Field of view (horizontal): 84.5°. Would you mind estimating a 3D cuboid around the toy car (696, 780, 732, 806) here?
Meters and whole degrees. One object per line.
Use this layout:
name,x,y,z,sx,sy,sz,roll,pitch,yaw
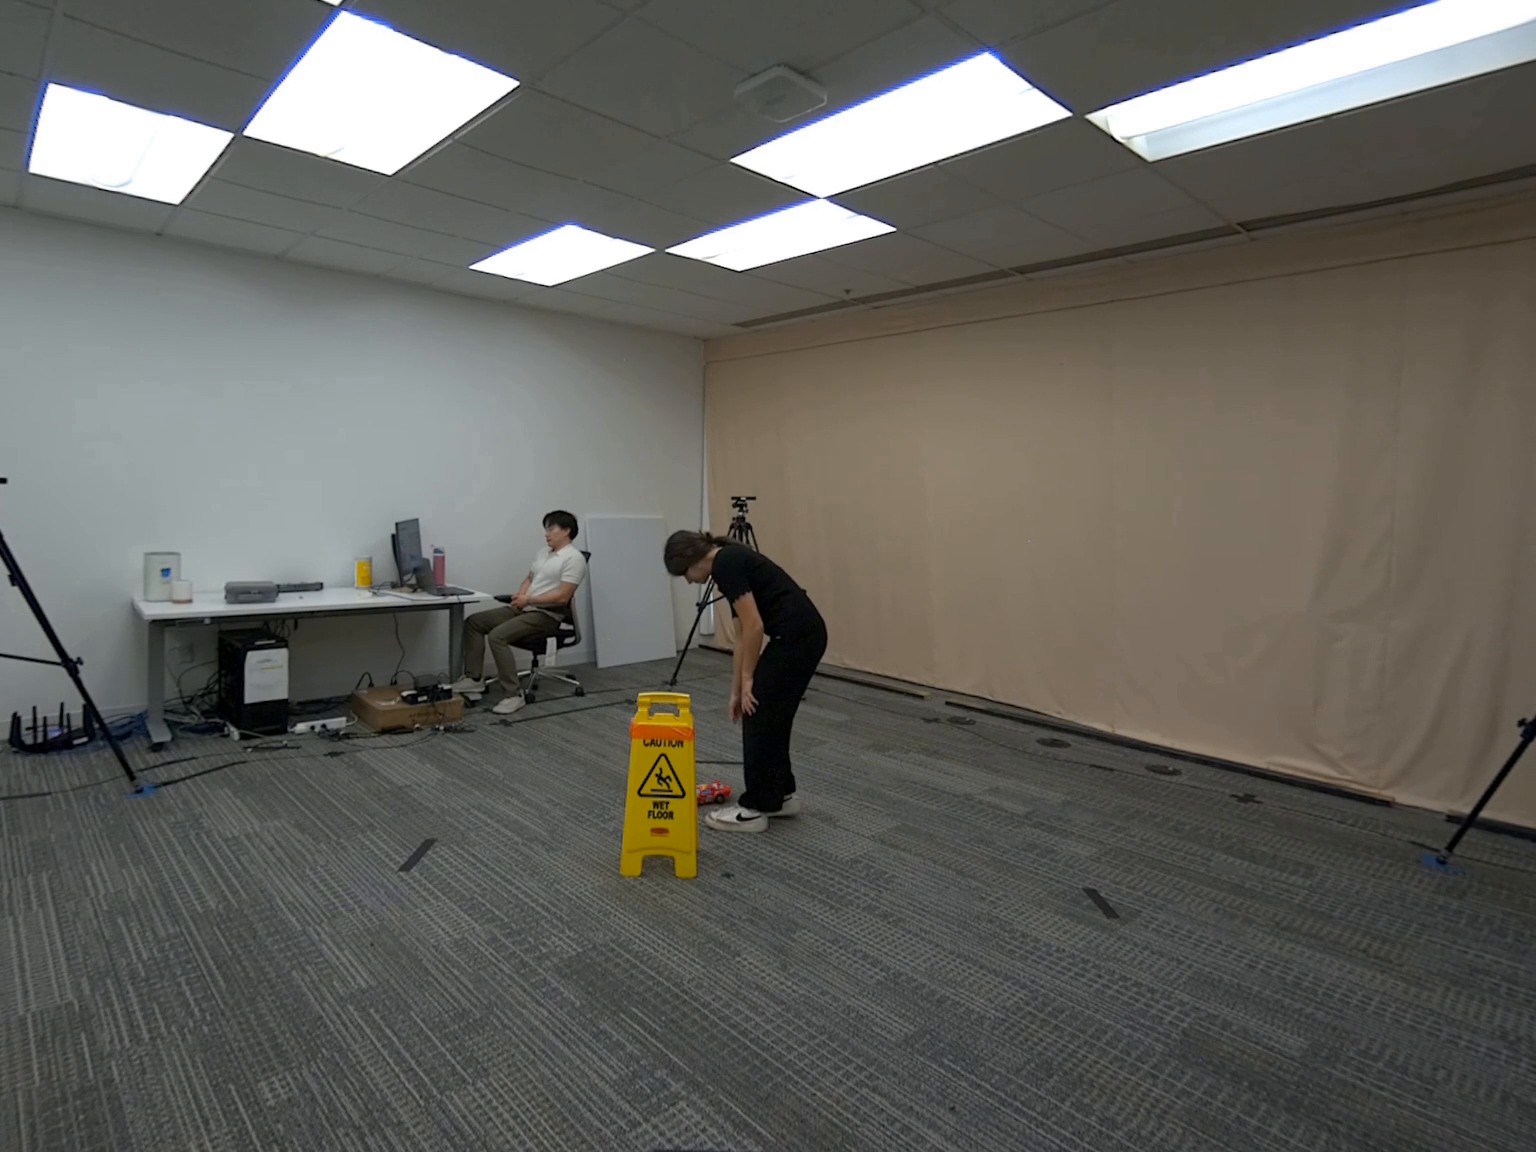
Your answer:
toy car,-0.298,1.000,3.858,0.251,0.082,0.133,-13,10,-23
